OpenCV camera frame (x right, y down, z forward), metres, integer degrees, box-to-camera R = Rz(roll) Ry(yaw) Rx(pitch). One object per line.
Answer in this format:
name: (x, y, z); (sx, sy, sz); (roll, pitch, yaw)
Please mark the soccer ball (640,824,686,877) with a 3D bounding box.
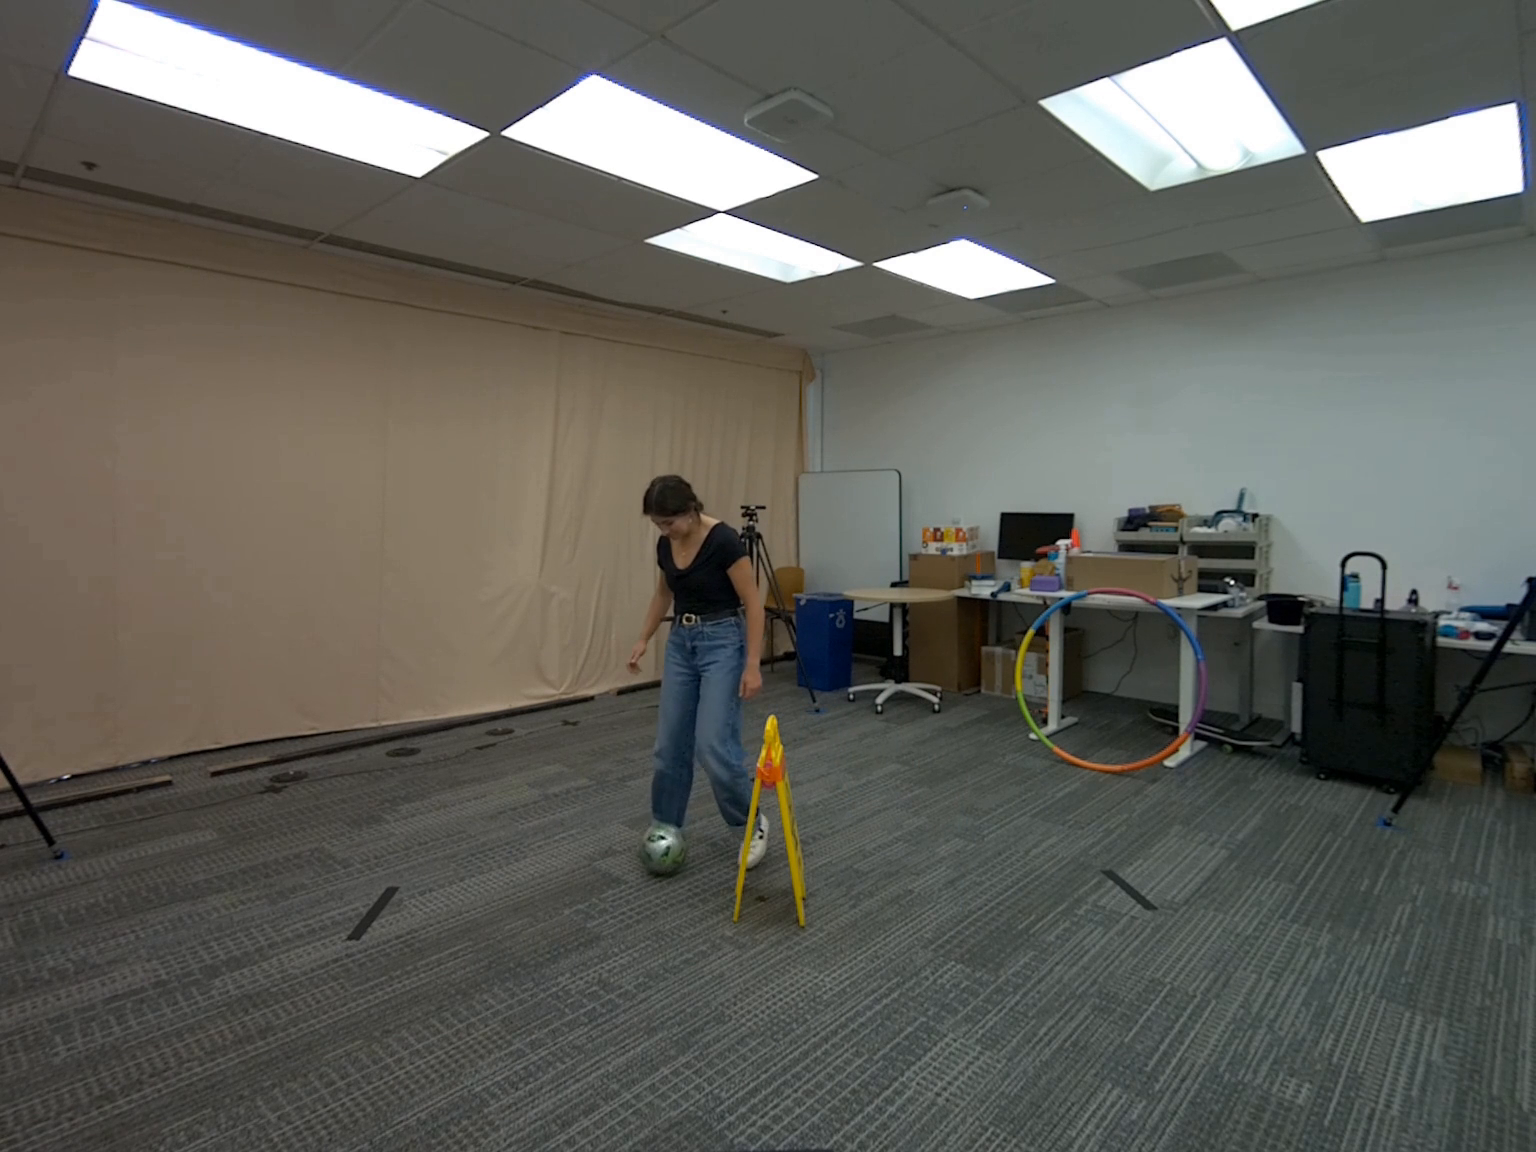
soccer ball: (-0.398, 1.031, 3.207); (0.187, 0.187, 0.188); (0, 4, -2)
